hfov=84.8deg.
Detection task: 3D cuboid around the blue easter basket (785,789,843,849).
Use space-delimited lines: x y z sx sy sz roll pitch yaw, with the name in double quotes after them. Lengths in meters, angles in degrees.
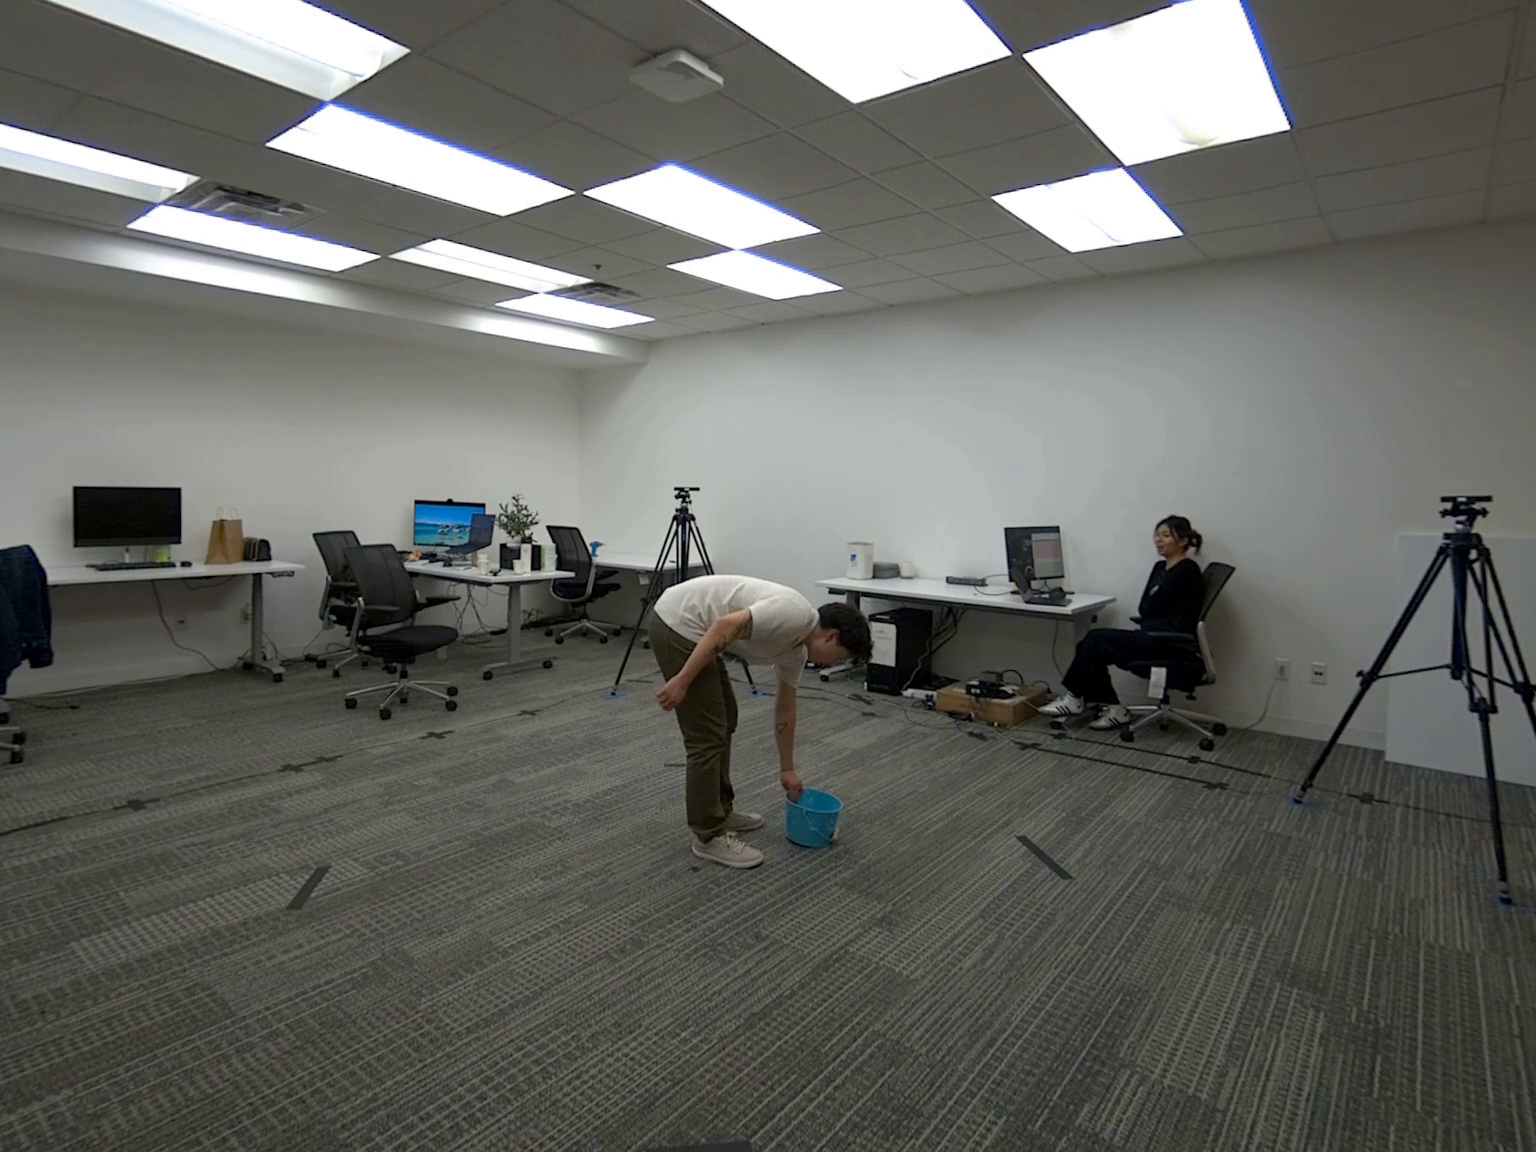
0.168 0.961 3.388 0.243 0.155 0.245 6 6 -2 "blue easter basket"
